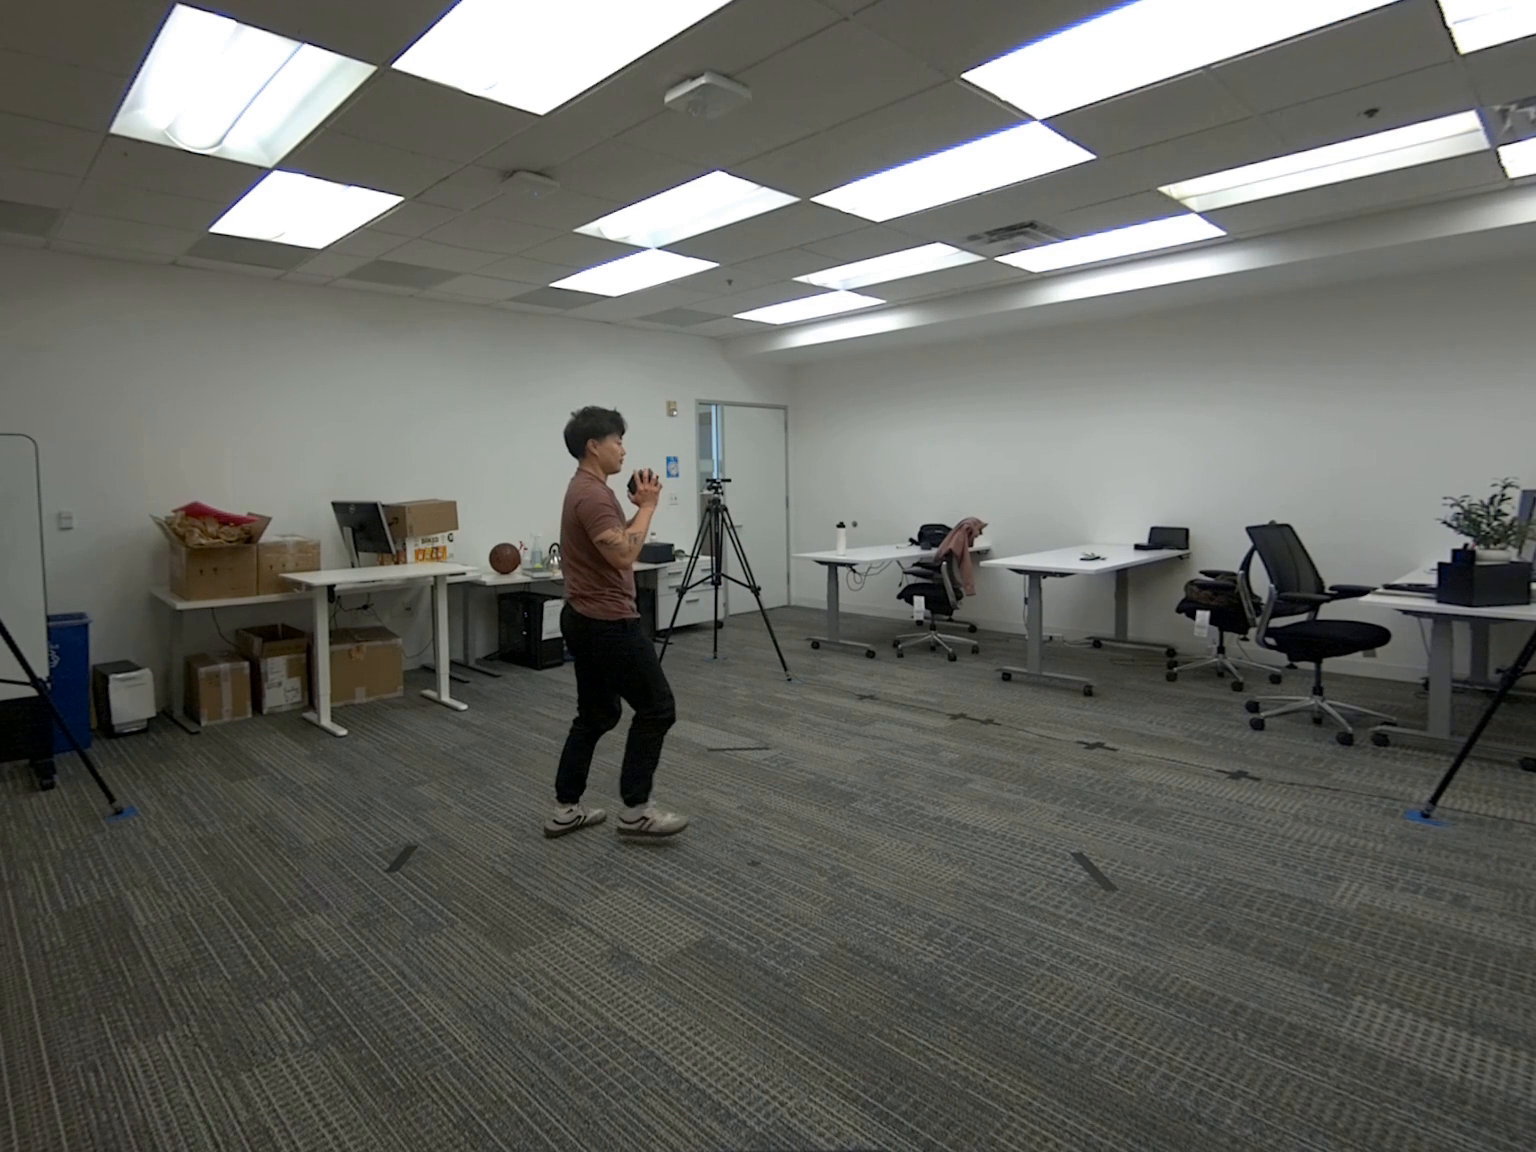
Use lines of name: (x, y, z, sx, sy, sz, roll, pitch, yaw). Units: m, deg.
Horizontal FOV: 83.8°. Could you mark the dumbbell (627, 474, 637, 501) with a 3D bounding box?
dumbbell: (-0.530, -0.347, 3.395, 0.123, 0.108, 0.293, -5, 6, 3)
